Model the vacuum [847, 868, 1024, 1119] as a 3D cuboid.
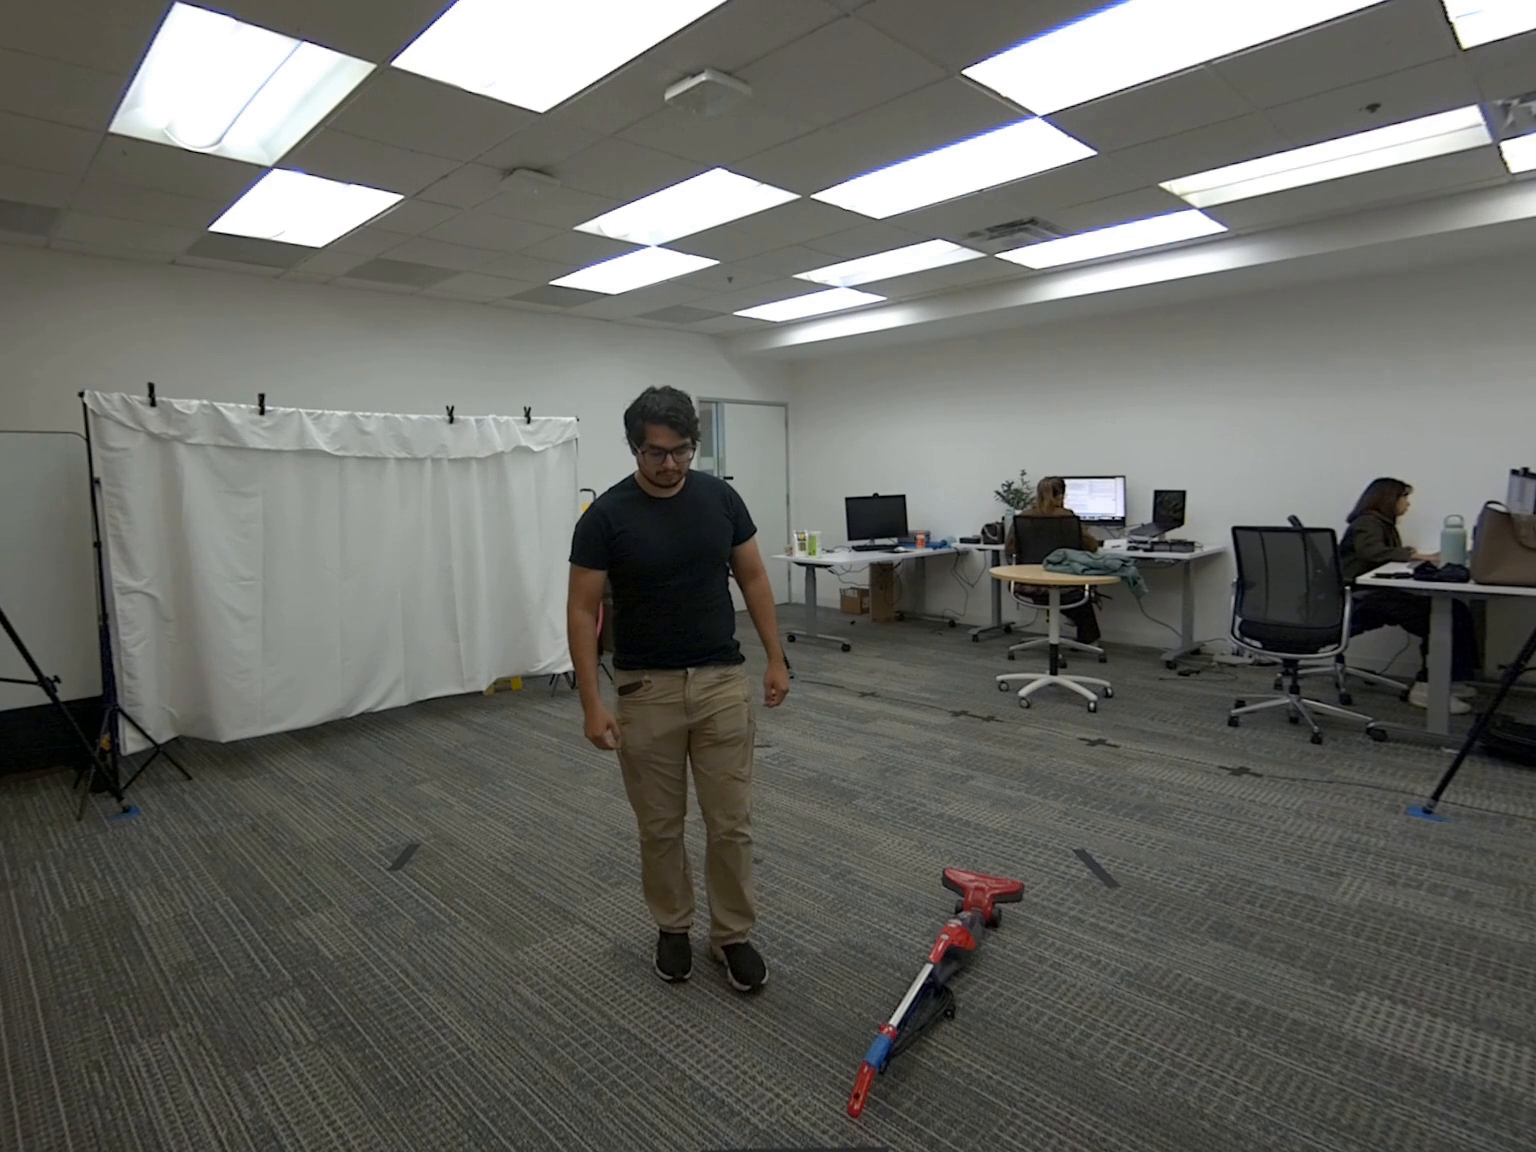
[{"bbox_3d":[0.435,1.071,2.238,0.259,0.143,1.028,1,7,28],"label":"vacuum"}]
